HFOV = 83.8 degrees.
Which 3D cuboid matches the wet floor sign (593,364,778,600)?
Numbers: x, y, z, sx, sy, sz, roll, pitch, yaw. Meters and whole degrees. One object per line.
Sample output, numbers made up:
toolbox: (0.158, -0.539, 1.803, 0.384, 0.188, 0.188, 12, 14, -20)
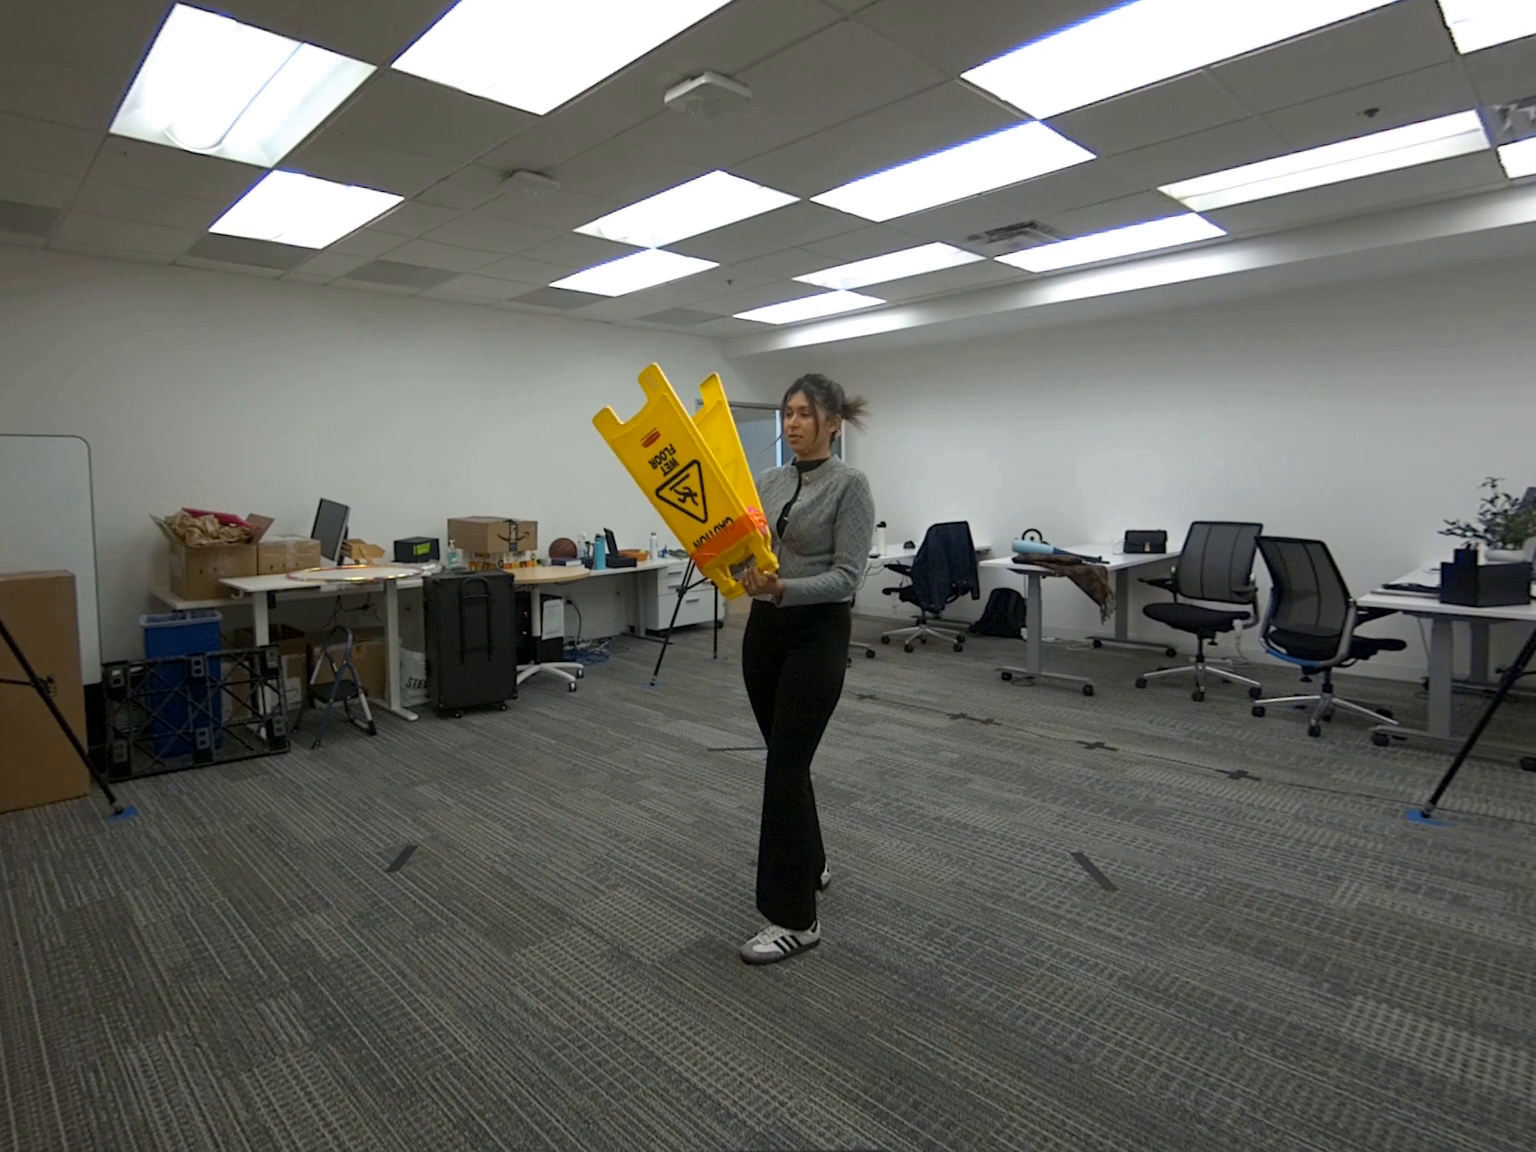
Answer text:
wet floor sign: (-0.183, -0.249, 2.439, 0.284, 0.658, 0.282, -35, -17, 31)
